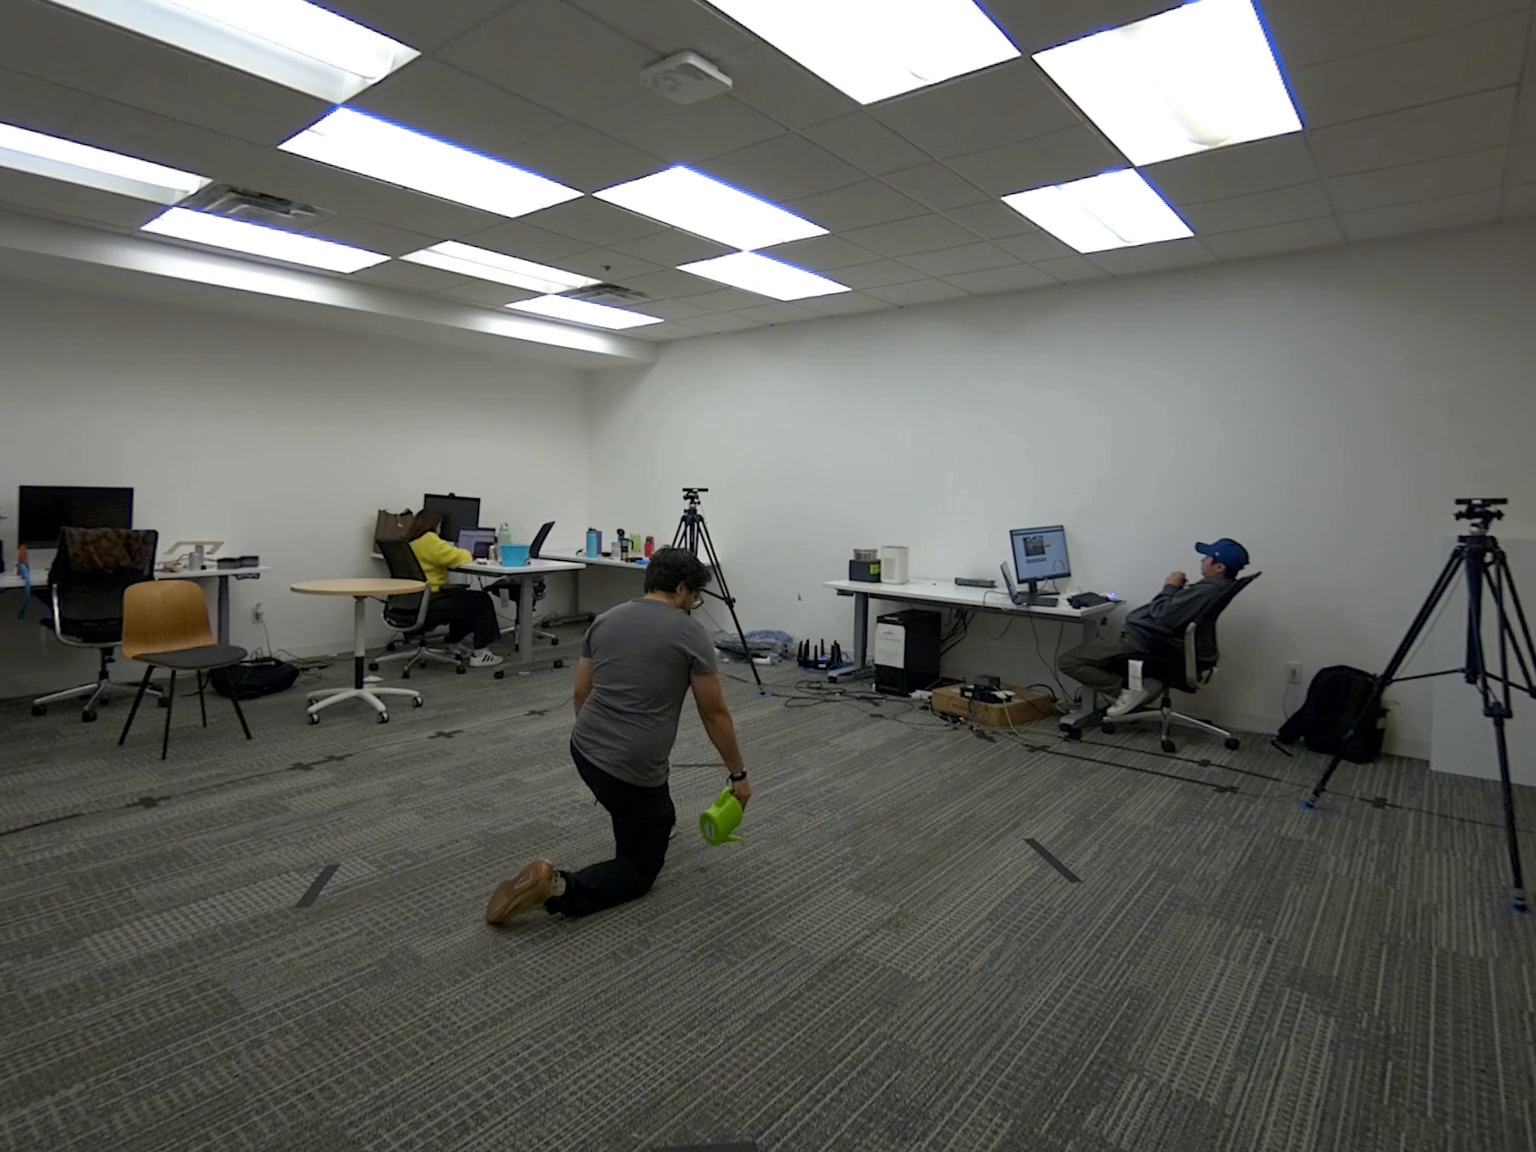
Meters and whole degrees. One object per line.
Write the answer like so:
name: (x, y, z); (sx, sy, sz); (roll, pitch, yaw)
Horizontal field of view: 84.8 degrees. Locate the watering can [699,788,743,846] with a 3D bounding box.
watering can: (-0.151, 0.884, 2.983); (0.101, 0.275, 0.174); (-7, 15, 41)
